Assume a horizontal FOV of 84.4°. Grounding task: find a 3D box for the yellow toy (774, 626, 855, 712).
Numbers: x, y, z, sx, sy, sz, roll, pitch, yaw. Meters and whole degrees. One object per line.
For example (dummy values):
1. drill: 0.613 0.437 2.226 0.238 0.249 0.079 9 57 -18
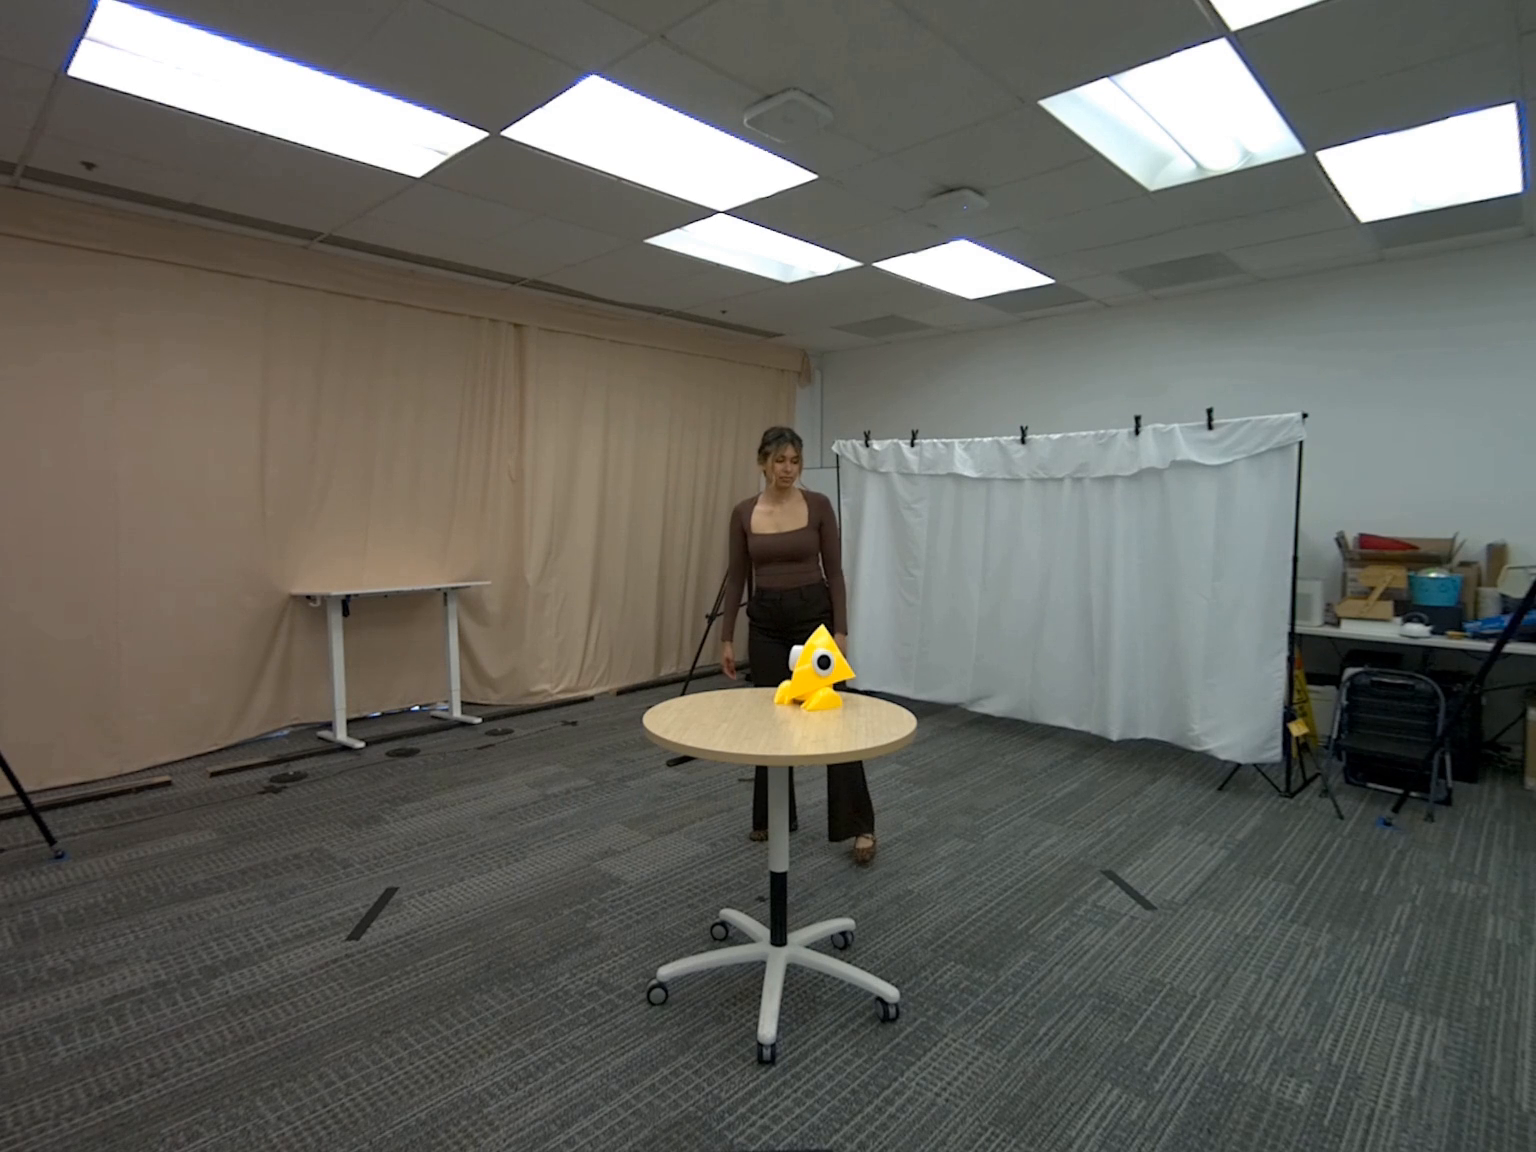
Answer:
1. yellow toy: 0.131 0.268 2.551 0.187 0.230 0.211 -3 5 -44
